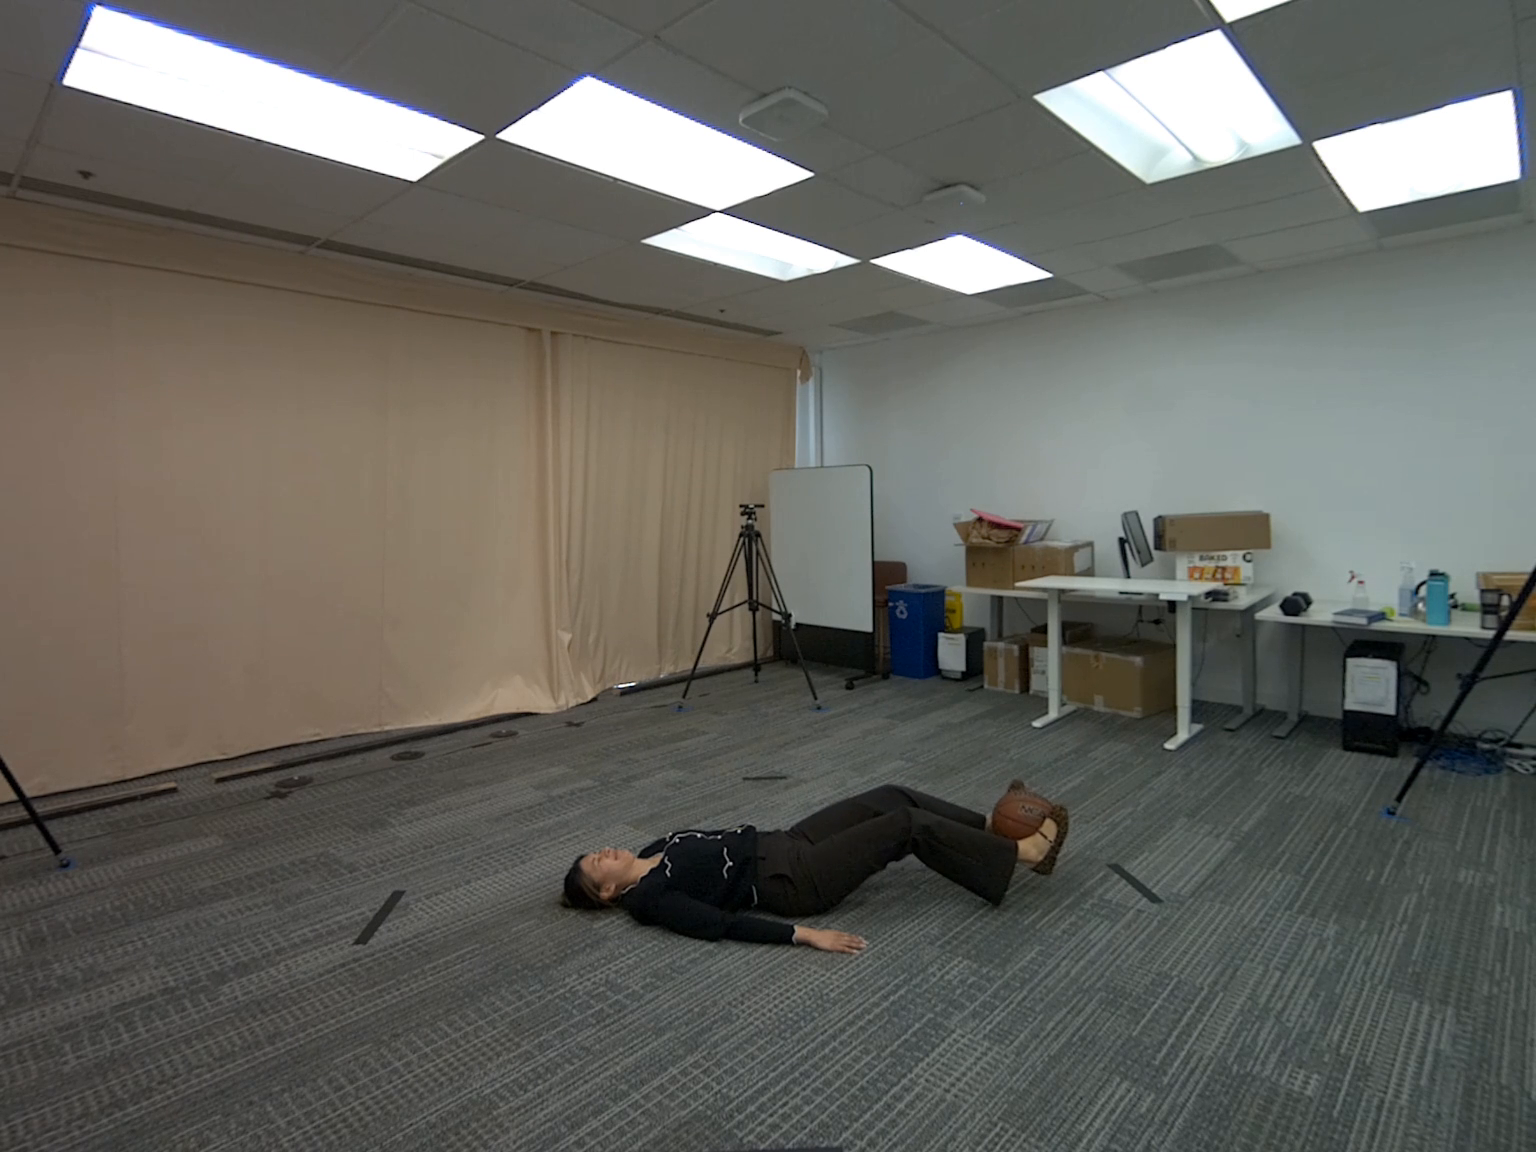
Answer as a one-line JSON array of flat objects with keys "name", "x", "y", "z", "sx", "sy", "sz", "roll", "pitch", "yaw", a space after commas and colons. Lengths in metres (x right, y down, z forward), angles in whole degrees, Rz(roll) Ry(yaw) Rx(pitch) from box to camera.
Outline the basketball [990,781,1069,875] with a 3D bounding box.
[{"name": "basketball", "x": 0.949, "y": 0.900, "z": 3.050, "sx": 0.236, "sy": 0.236, "sz": 0.236, "roll": 0, "pitch": 1, "yaw": -2}]
